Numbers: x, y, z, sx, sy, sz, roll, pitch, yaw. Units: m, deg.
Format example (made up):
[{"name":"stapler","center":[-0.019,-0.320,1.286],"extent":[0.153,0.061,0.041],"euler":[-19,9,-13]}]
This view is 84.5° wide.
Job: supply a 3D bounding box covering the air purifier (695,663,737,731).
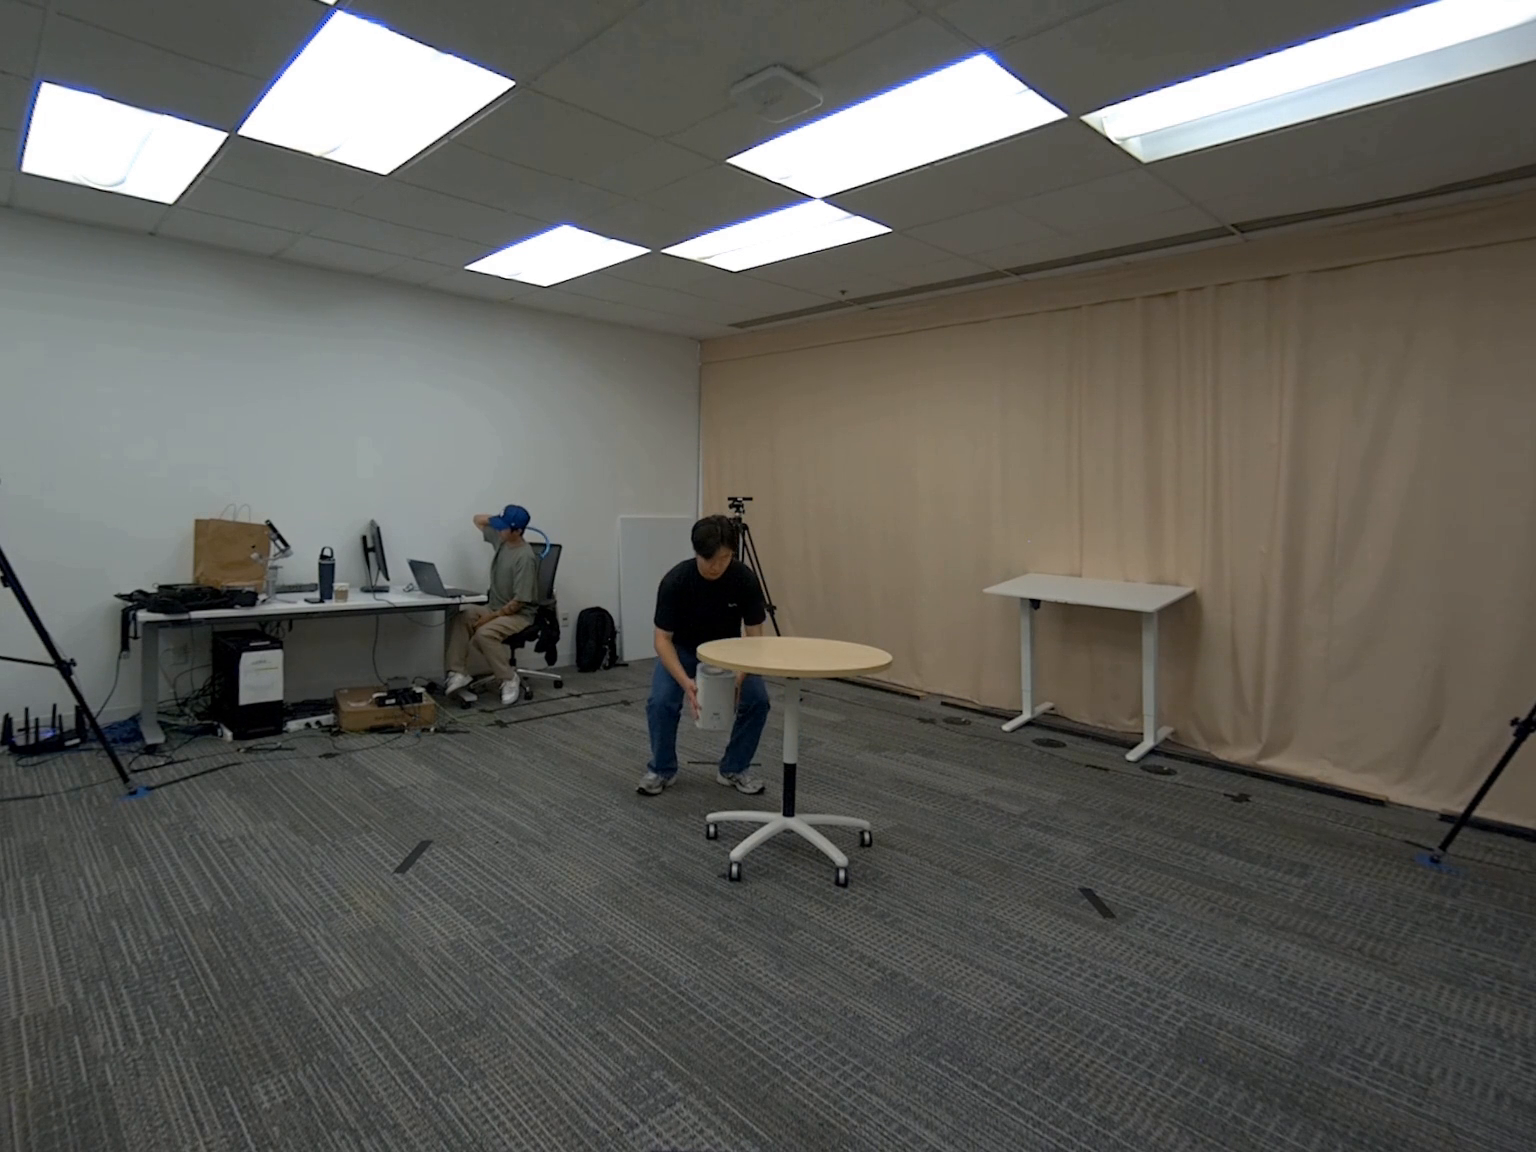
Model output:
[{"name":"air purifier","center":[-0.247,0.535,3.706],"extent":[0.169,0.263,0.175],"euler":[2,13,-16]}]
